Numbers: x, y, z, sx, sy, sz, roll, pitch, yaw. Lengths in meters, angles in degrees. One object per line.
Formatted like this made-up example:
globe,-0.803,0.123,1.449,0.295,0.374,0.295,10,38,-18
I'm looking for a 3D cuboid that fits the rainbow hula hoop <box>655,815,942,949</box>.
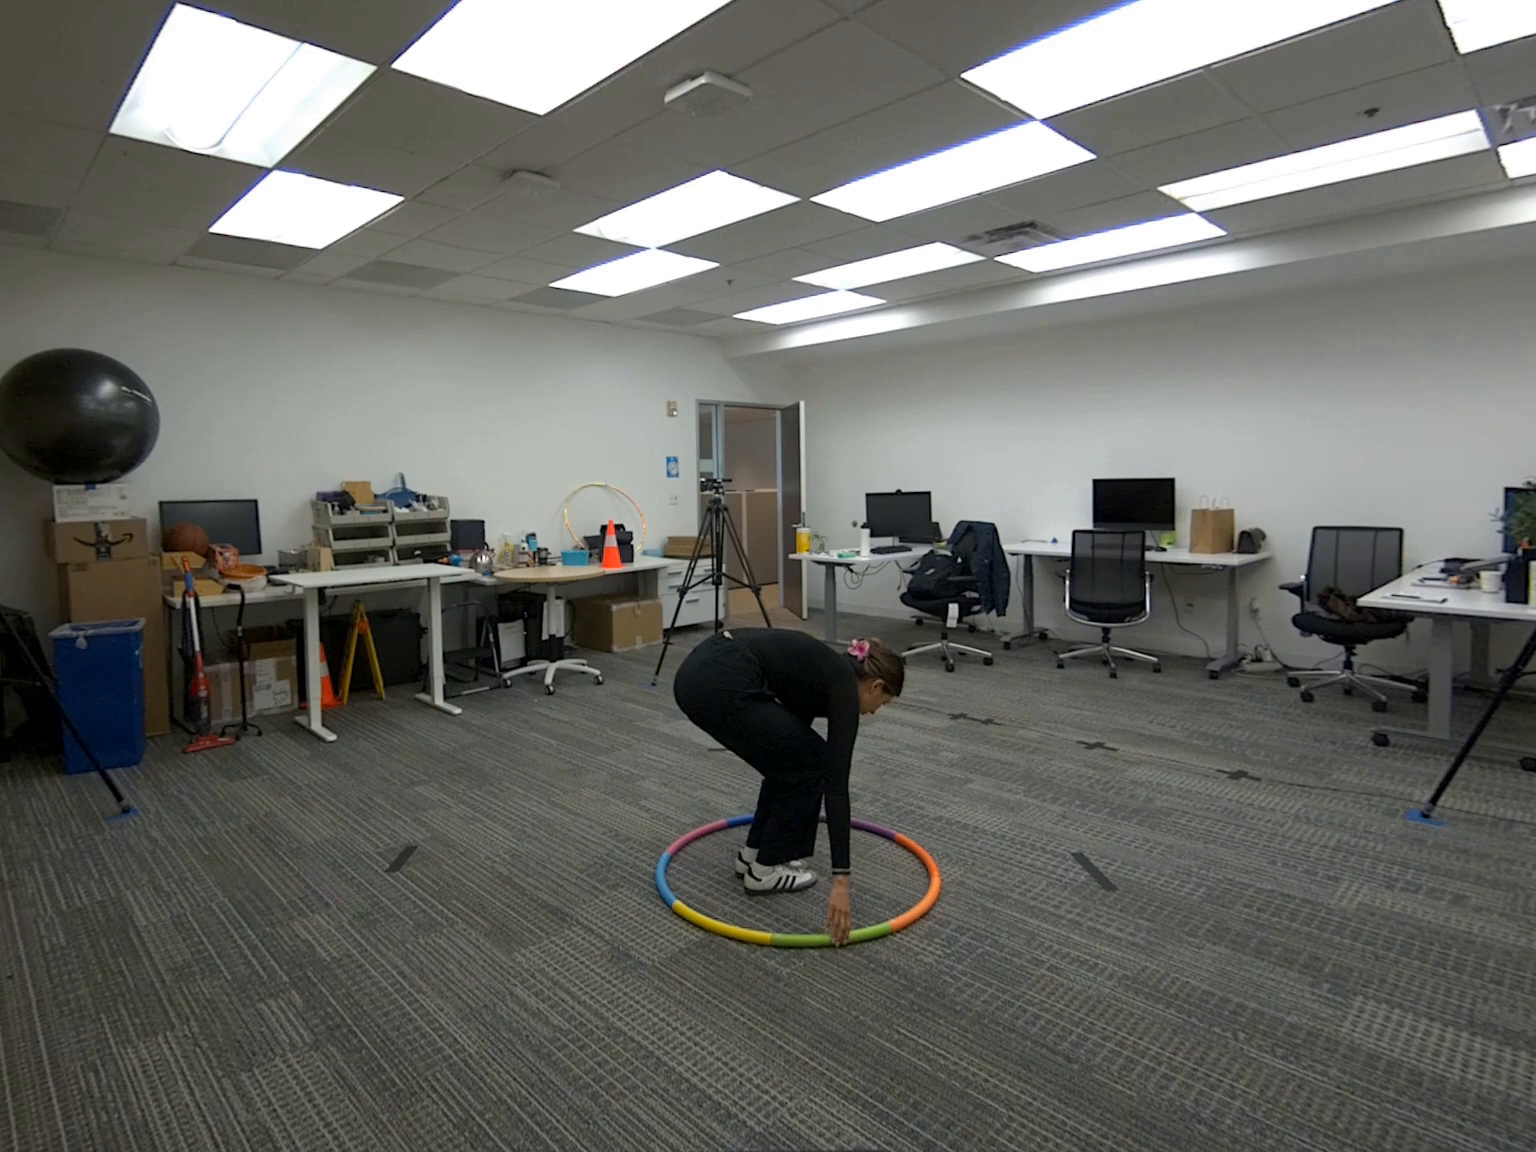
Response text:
rainbow hula hoop,0.100,1.020,3.025,0.978,0.035,0.984,-1,6,-2
